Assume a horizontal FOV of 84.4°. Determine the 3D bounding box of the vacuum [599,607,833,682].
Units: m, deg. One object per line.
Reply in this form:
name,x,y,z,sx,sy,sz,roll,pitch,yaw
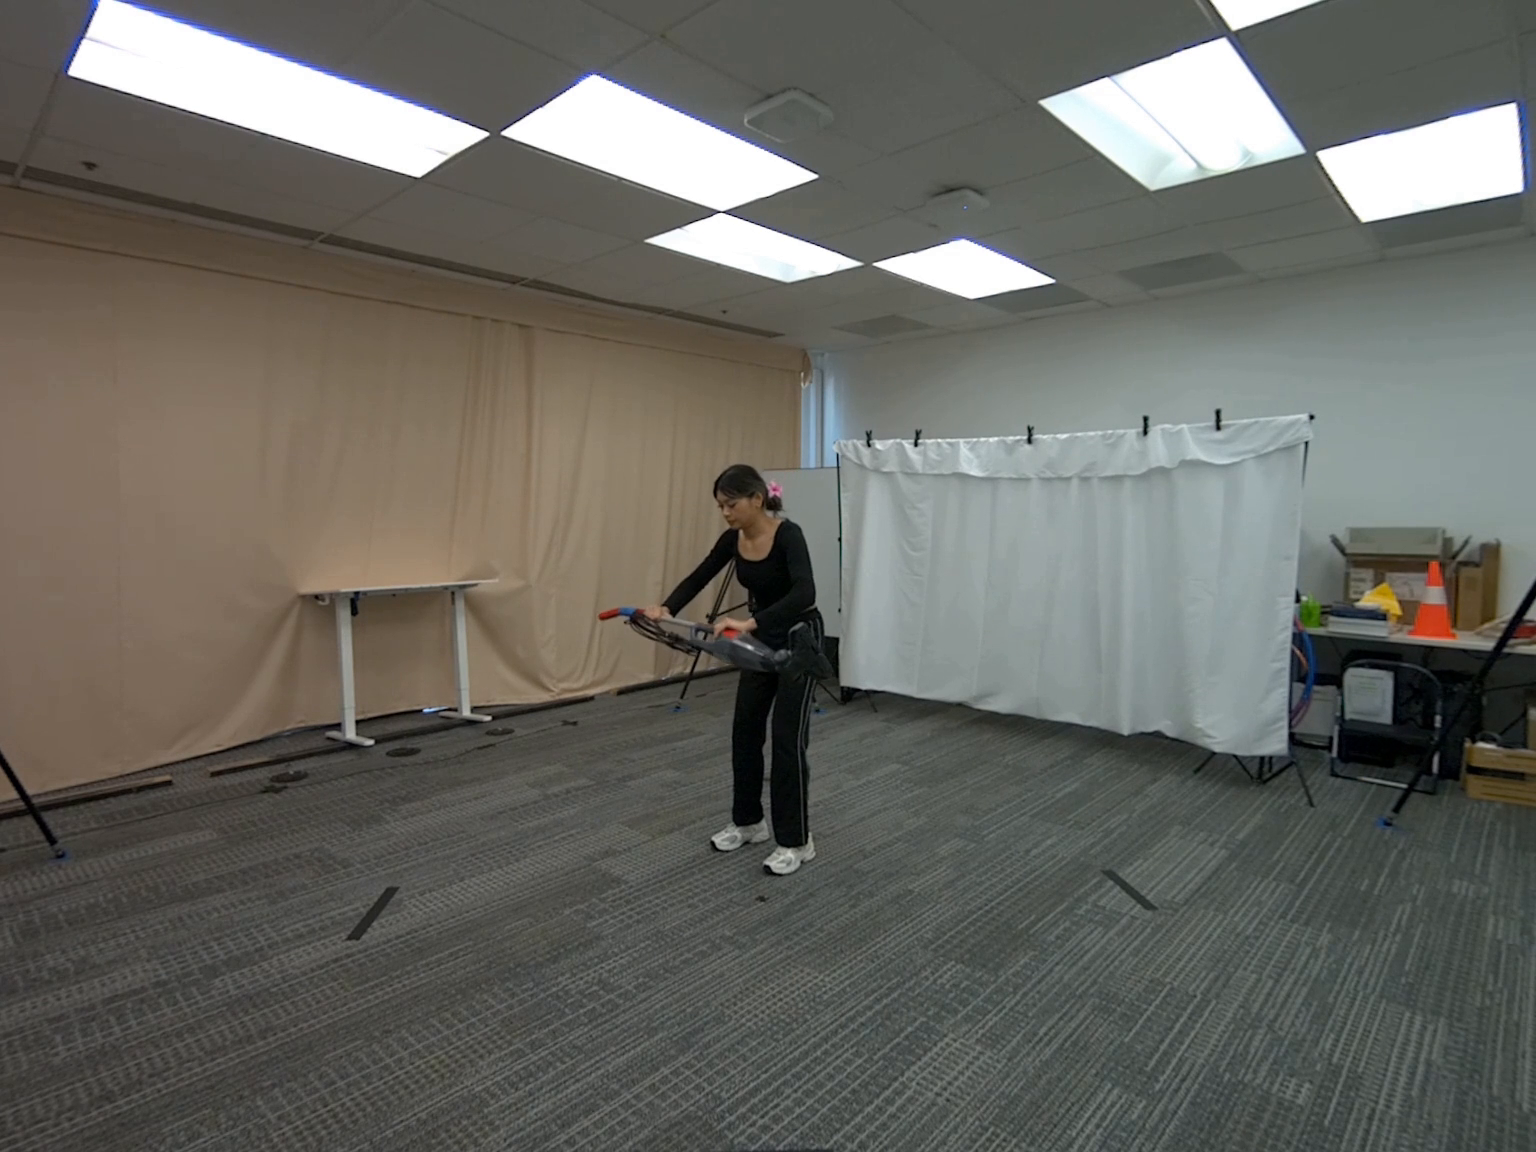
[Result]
vacuum,-0.269,0.215,3.065,1.086,0.245,0.143,8,47,45
